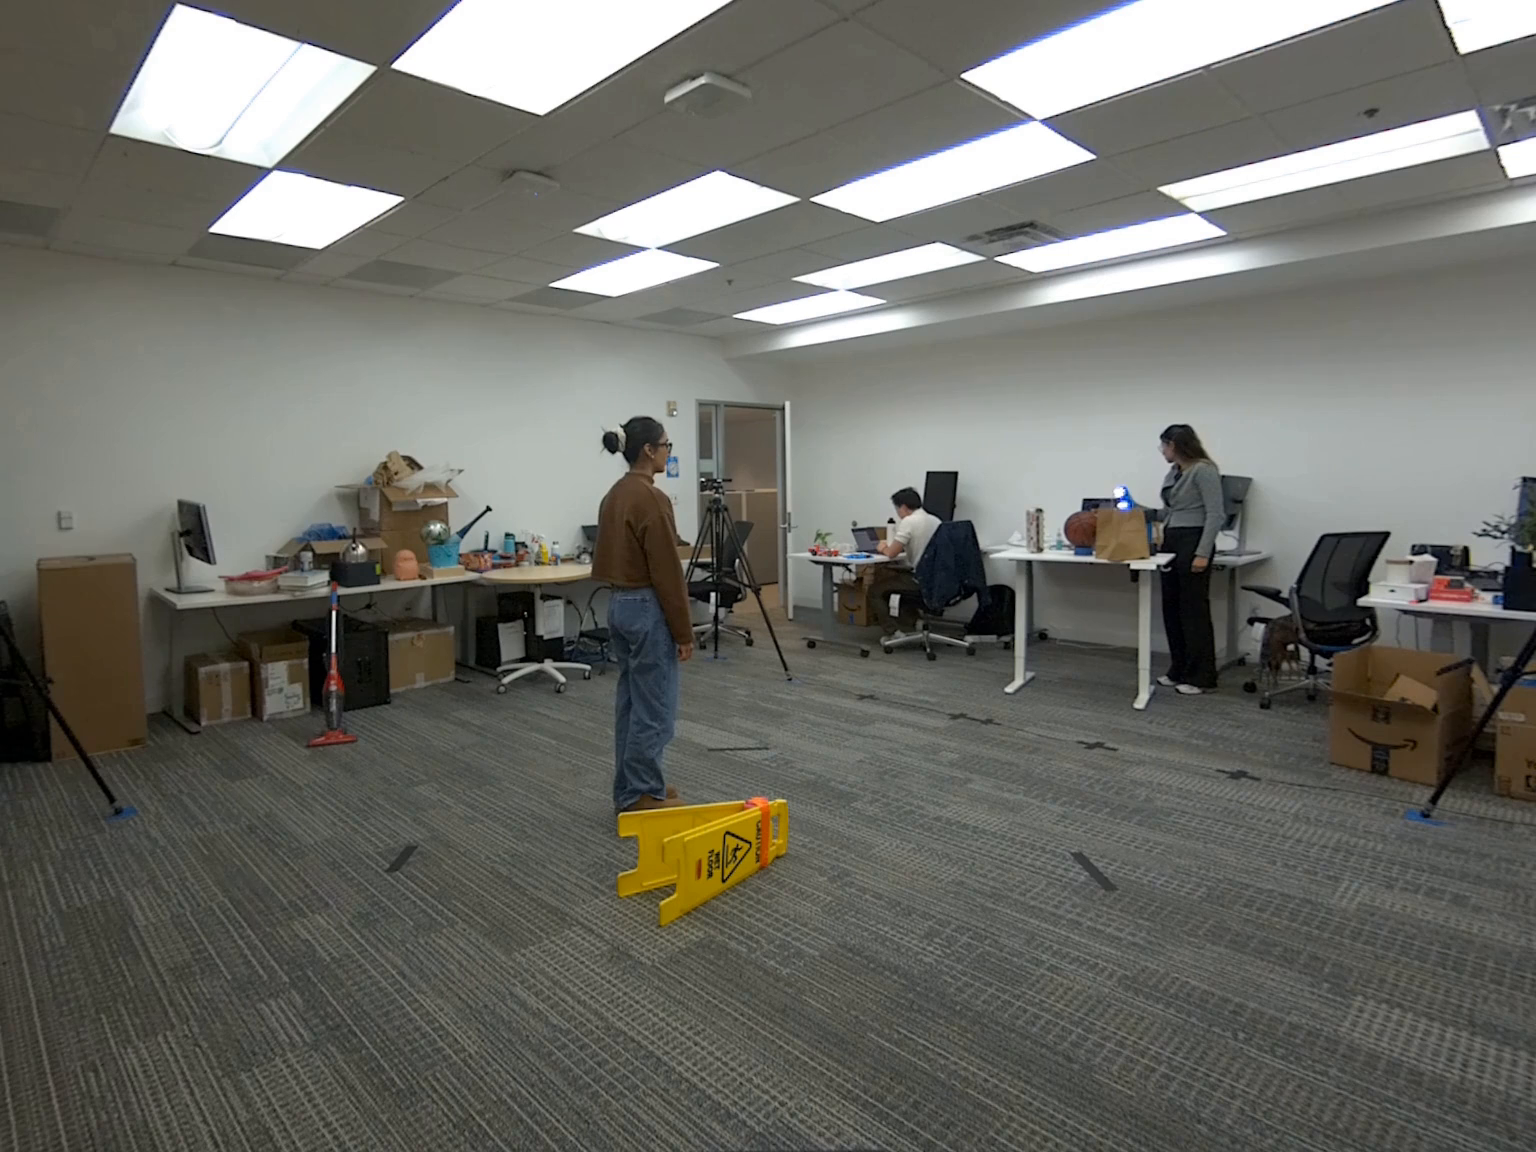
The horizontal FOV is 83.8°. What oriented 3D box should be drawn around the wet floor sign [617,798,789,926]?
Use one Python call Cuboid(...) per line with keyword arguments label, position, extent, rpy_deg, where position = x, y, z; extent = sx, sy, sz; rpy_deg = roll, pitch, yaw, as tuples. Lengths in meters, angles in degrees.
Cuboid(label="wet floor sign", position=(-0.177, 0.936, 2.971), extent=(0.628, 0.281, 0.299), rpy_deg=(-2, 5, -40))
